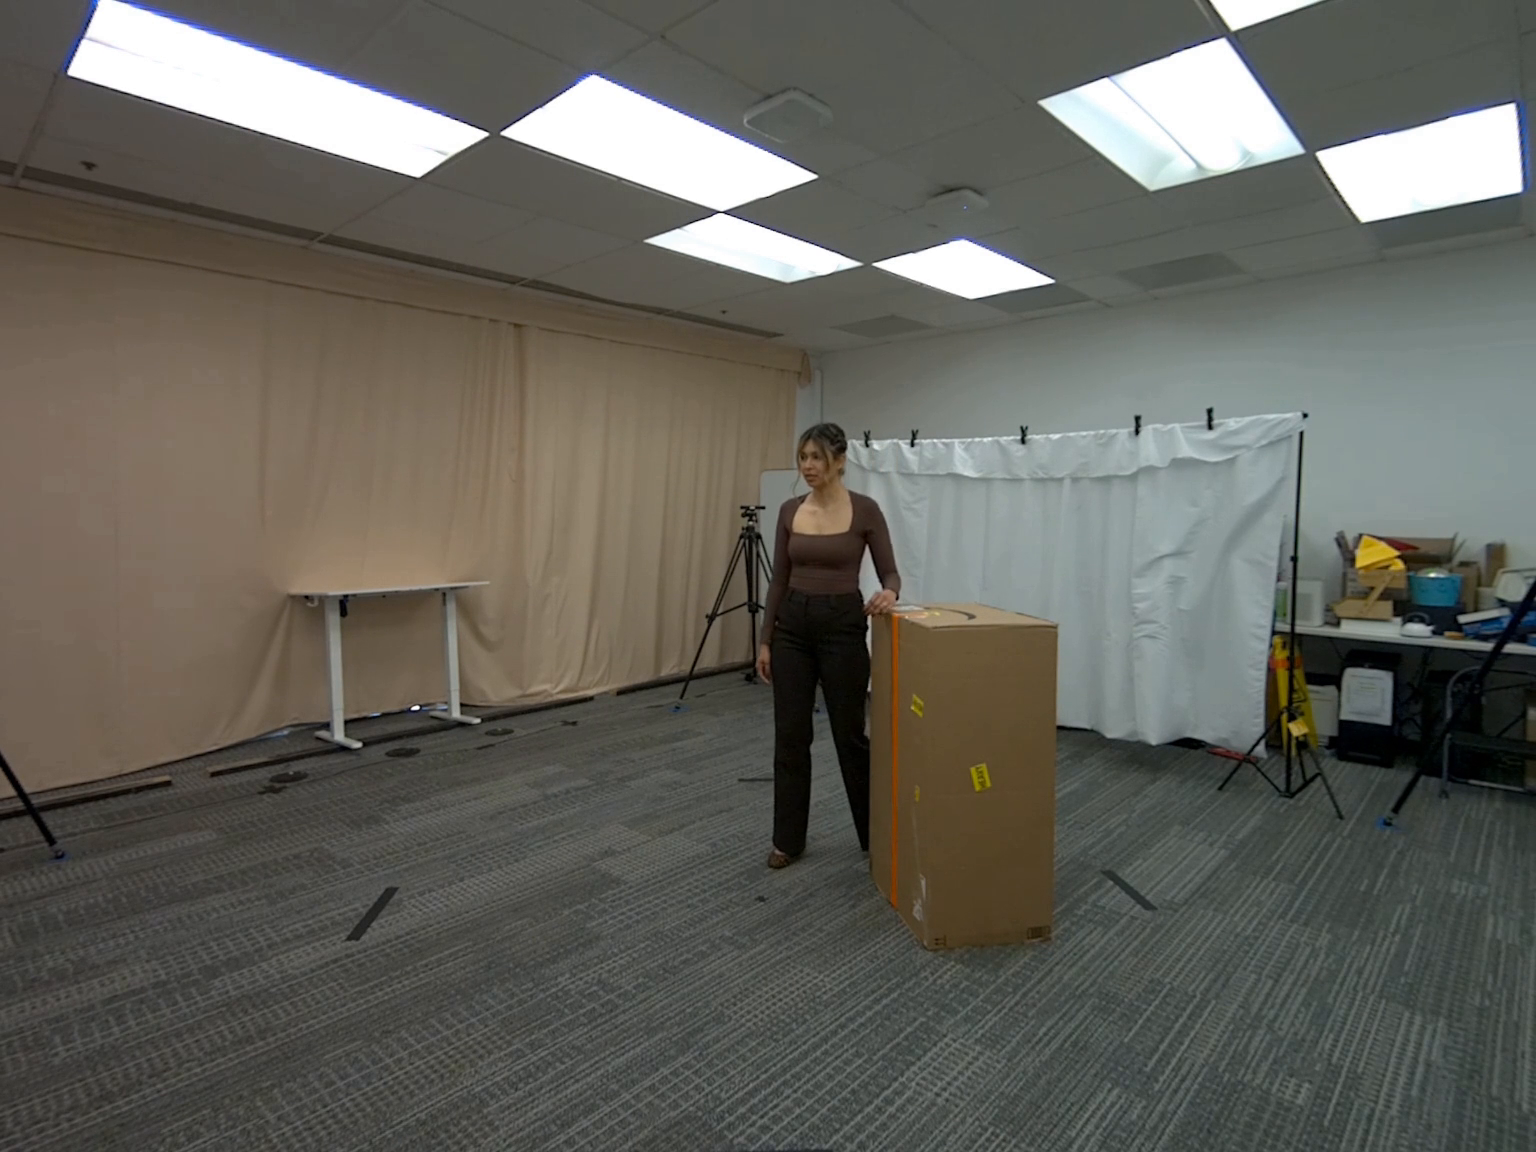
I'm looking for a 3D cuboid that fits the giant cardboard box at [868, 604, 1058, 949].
[{"bbox_3d":[0.653,0.638,2.910,0.442,1.025,0.592,0,3,-11],"label":"giant cardboard box"}]
